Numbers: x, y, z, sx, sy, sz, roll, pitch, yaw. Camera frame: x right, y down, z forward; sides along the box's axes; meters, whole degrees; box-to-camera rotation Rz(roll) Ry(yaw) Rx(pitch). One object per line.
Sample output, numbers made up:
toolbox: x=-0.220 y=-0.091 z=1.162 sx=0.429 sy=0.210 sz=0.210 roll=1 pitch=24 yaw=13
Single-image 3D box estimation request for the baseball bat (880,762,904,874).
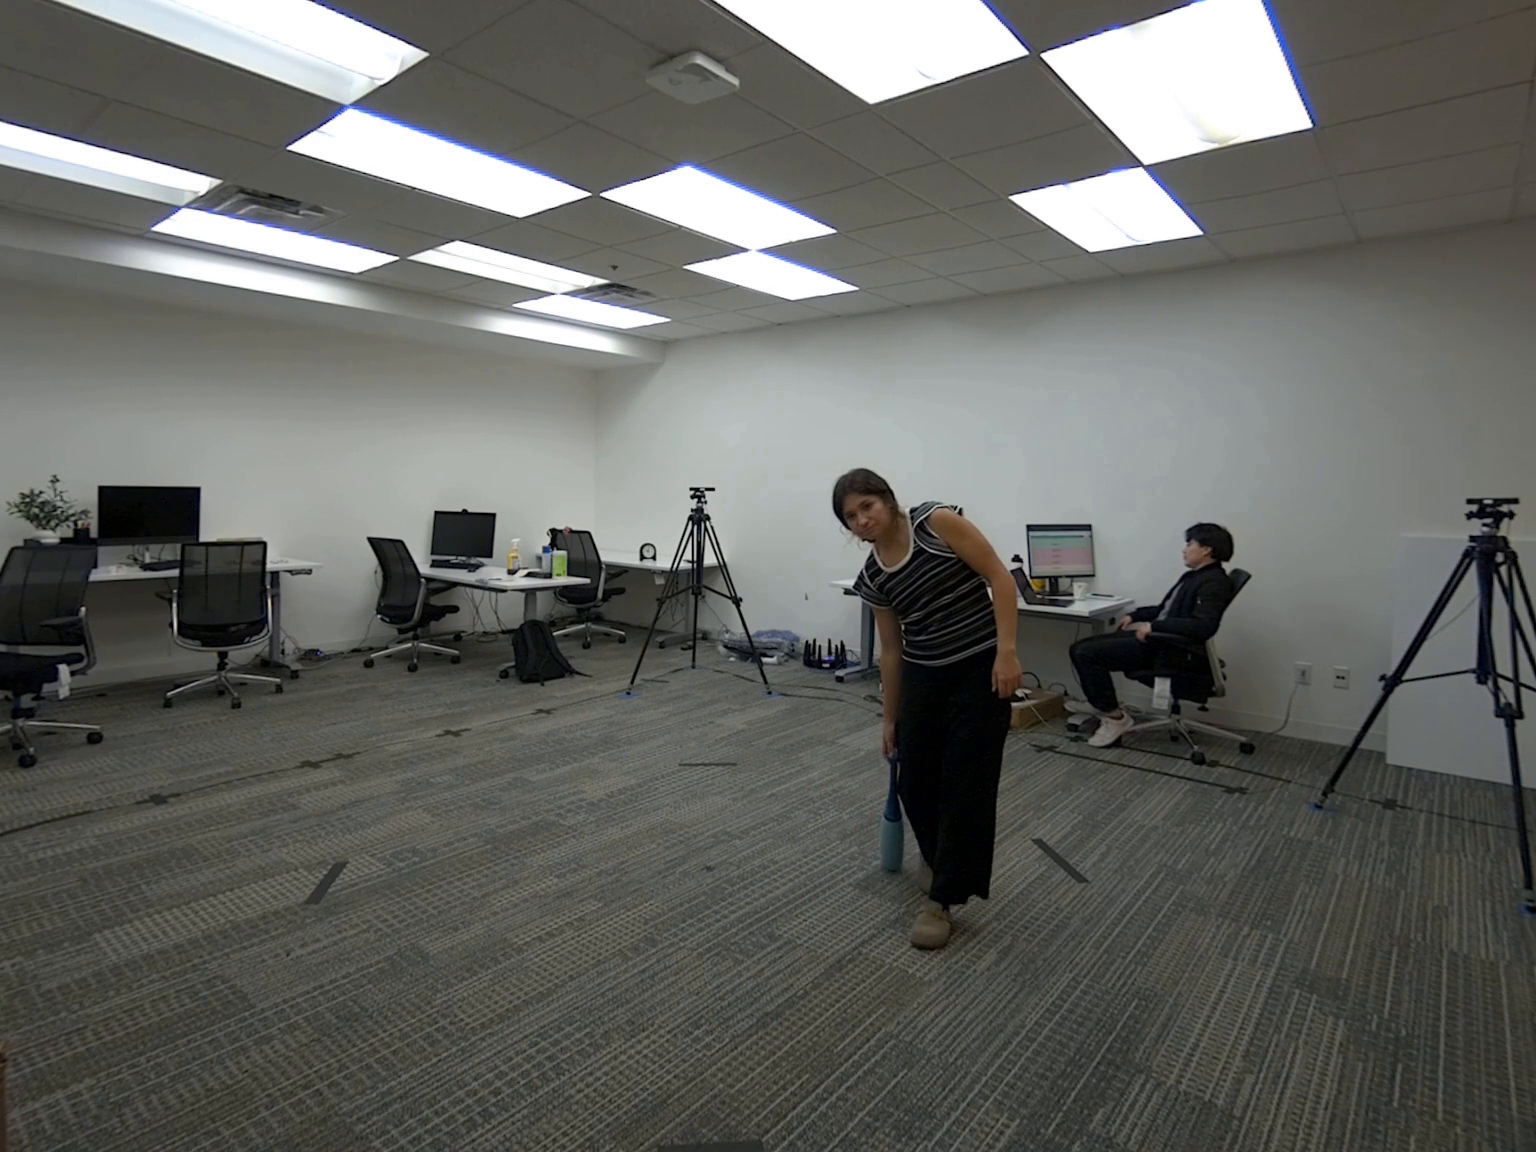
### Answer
baseball bat: x=0.436 y=0.838 z=3.023 sx=0.089 sy=0.529 sz=0.091 roll=-3 pitch=29 yaw=0
